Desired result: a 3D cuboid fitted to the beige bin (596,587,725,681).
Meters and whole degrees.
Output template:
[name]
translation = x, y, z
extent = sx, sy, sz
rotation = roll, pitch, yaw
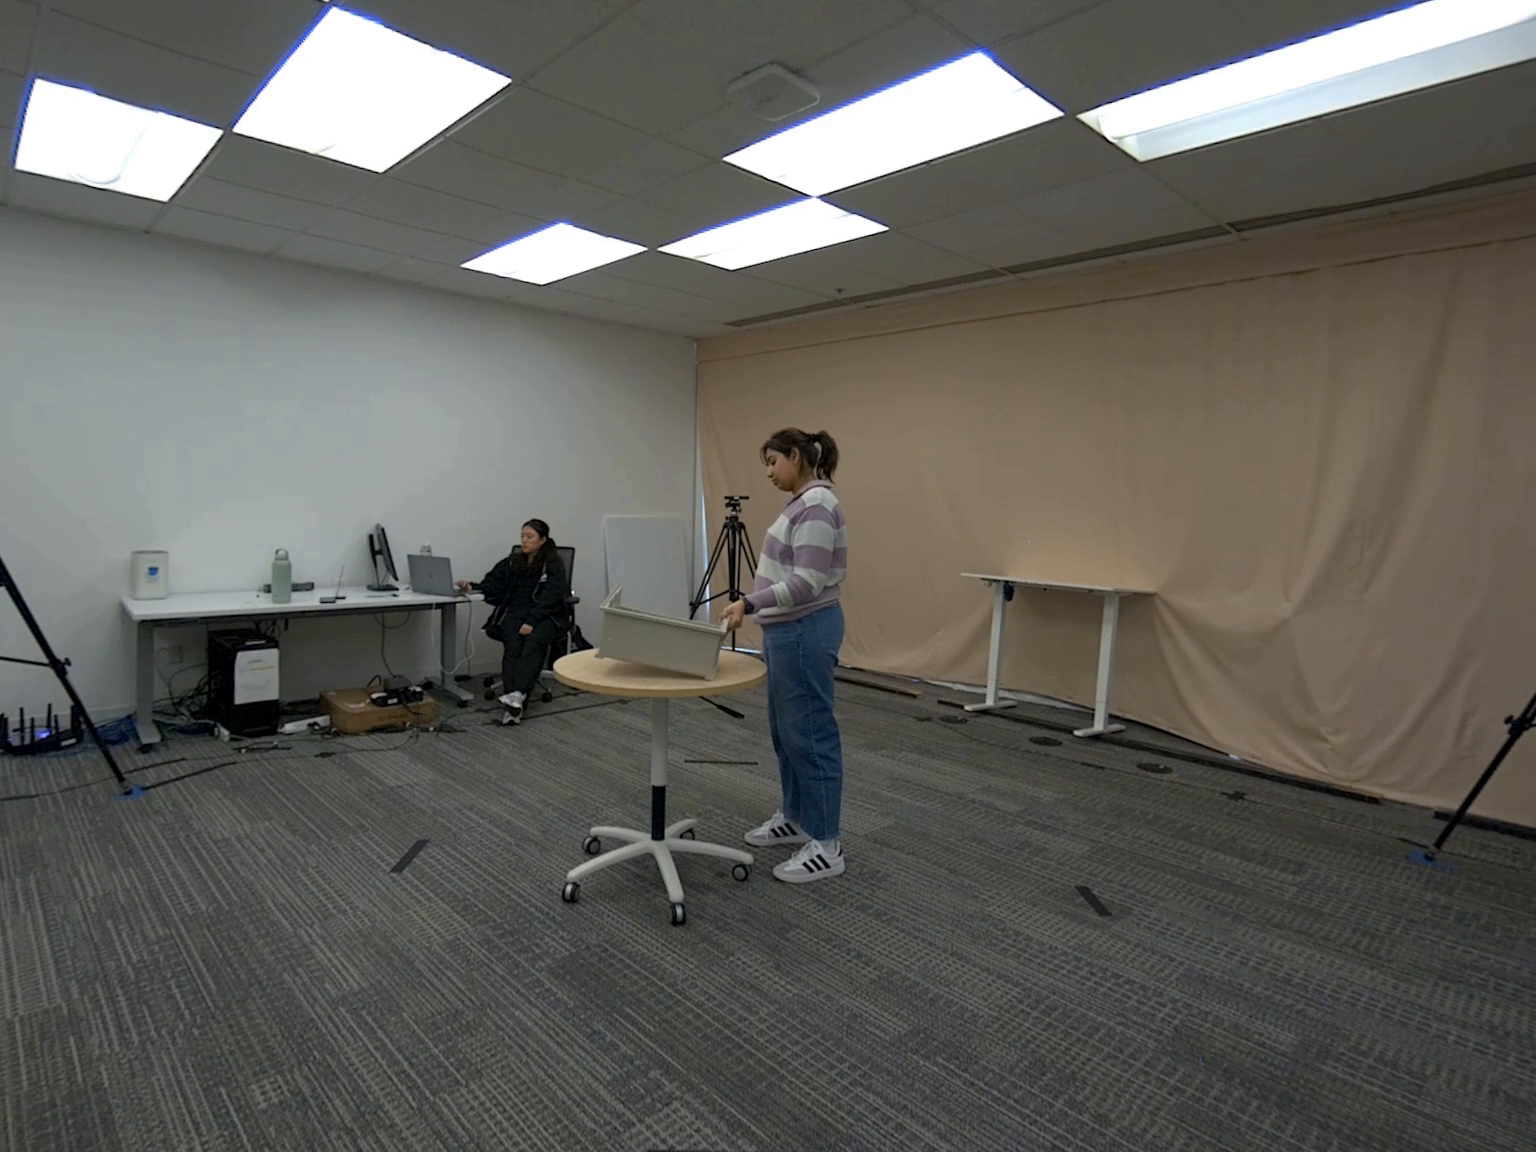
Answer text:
[beige bin]
translation = -0.371, 0.195, 2.955
extent = 0.423, 0.188, 0.379
rotation = 12, 11, 1
